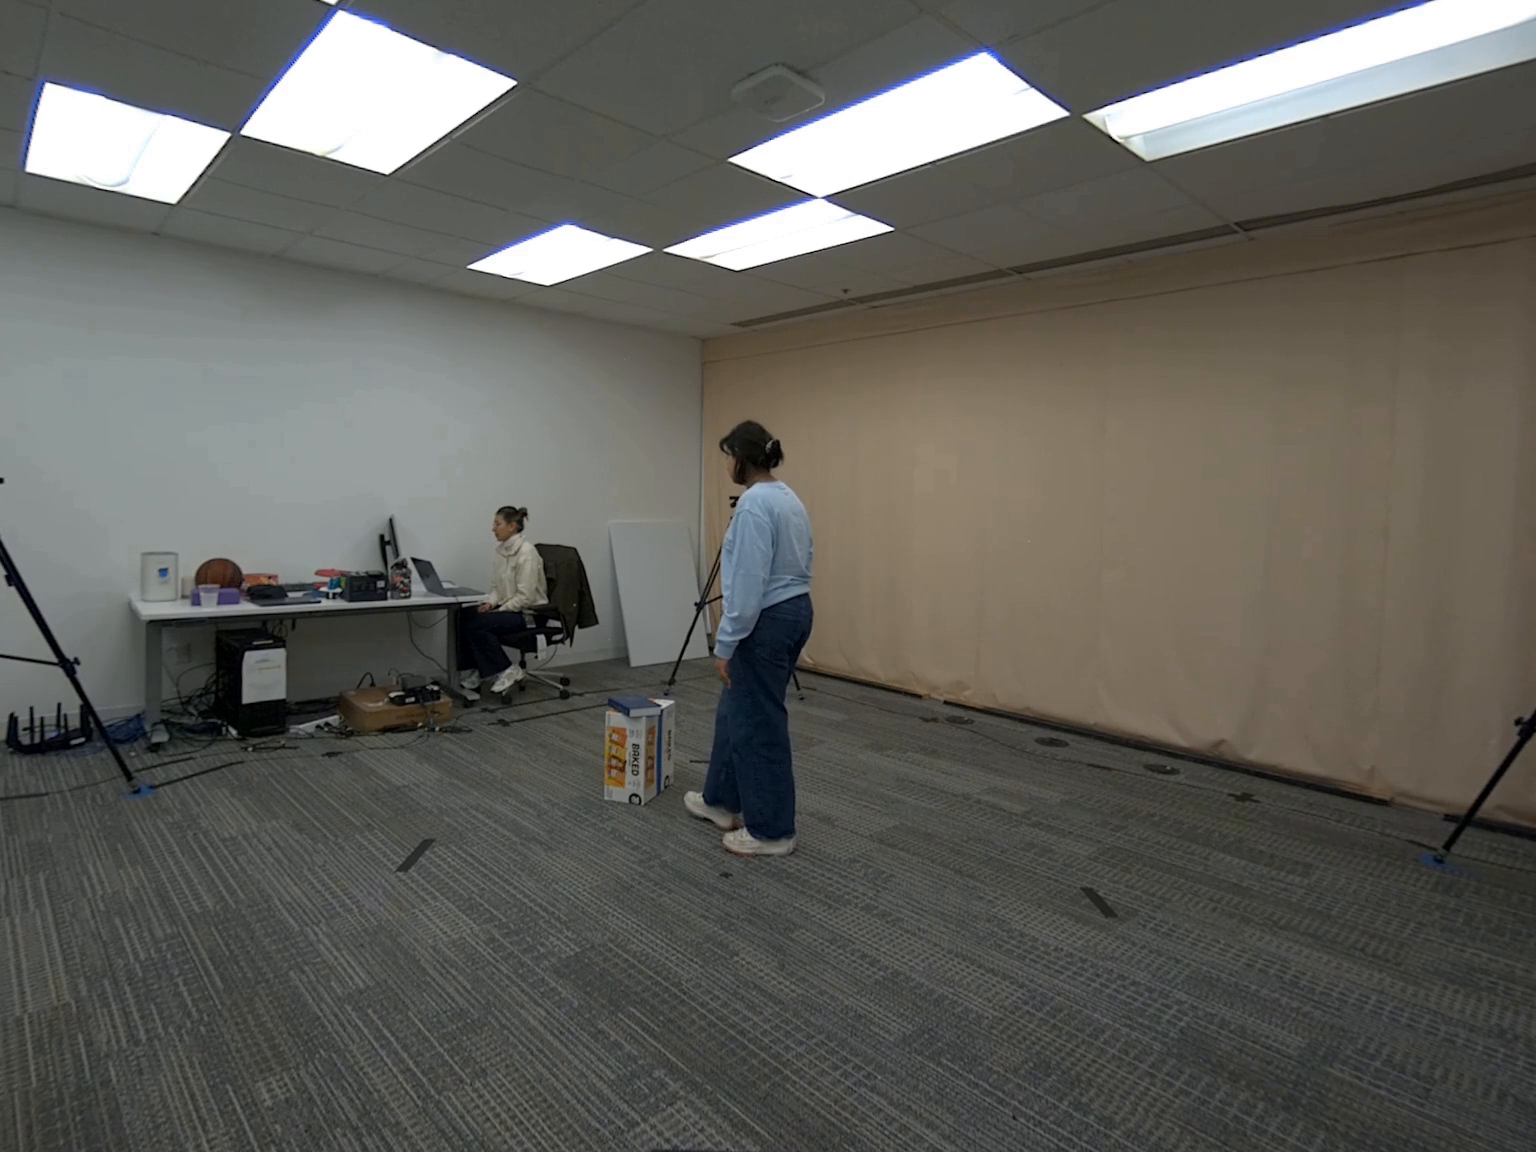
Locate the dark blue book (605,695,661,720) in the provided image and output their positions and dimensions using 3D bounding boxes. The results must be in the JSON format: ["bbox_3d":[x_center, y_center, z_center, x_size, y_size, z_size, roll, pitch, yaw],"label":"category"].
[{"bbox_3d":[-0.623,0.601,3.883,0.160,0.045,0.251,0,5,-32],"label":"dark blue book"}]
